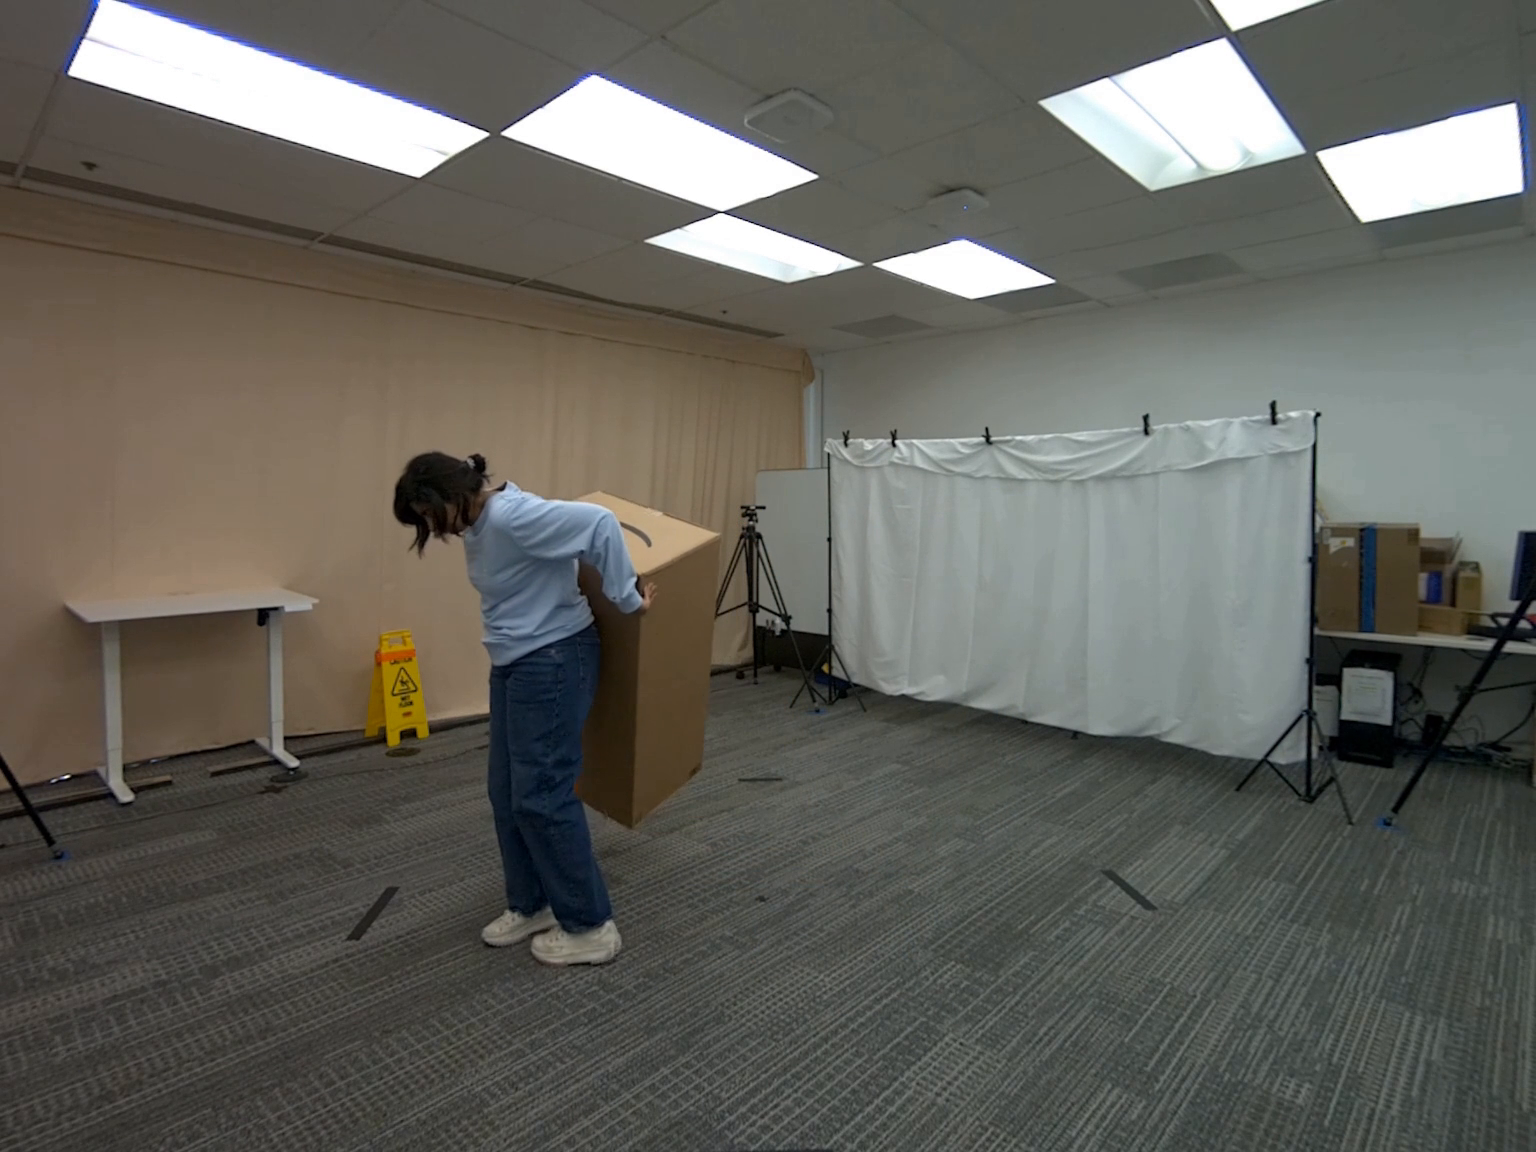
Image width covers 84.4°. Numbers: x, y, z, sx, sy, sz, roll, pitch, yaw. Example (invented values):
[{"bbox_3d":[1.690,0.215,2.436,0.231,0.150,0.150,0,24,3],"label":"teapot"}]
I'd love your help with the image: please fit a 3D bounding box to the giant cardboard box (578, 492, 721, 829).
[{"bbox_3d":[-0.552,0.294,3.057,0.596,1.013,0.418,21,29,29],"label":"giant cardboard box"}]
